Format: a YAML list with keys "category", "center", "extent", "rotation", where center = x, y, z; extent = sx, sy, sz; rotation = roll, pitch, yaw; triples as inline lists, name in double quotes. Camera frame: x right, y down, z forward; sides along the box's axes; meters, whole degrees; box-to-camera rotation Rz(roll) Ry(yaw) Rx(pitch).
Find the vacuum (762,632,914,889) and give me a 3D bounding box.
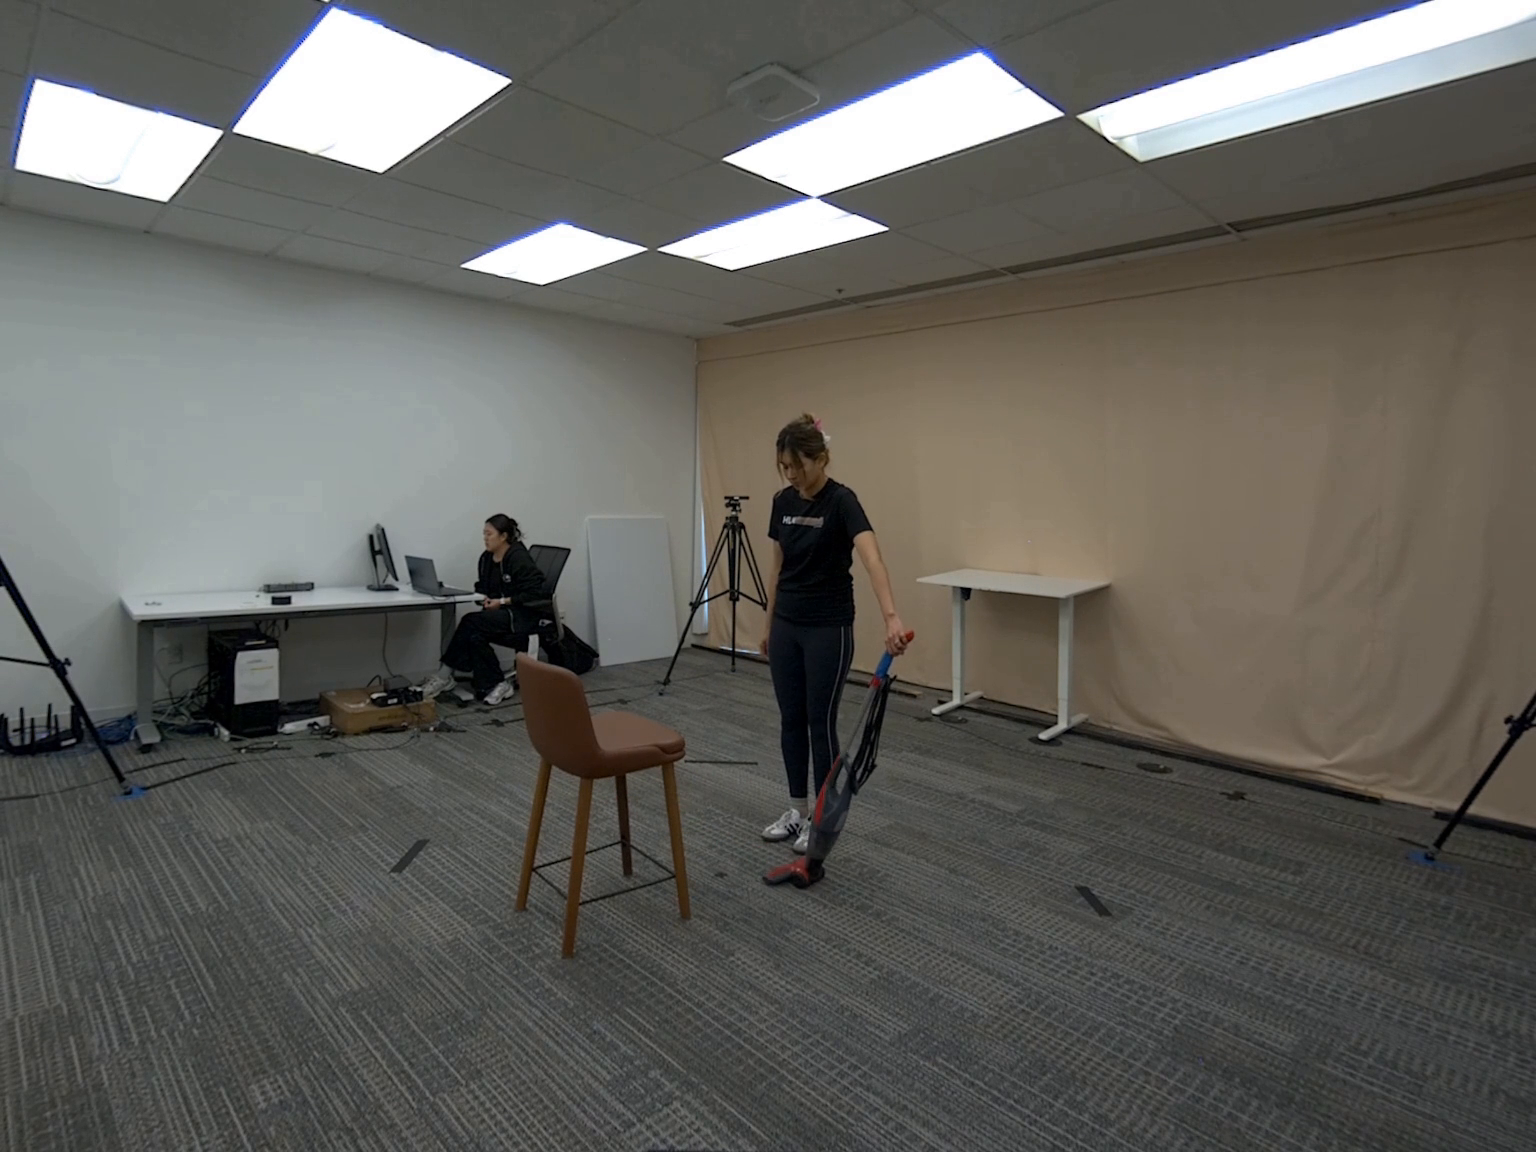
- category: "vacuum"
  center: [0.280, 0.654, 2.913]
  extent: [0.247, 1.041, 0.148]
  rotation: [-1, 31, -47]
